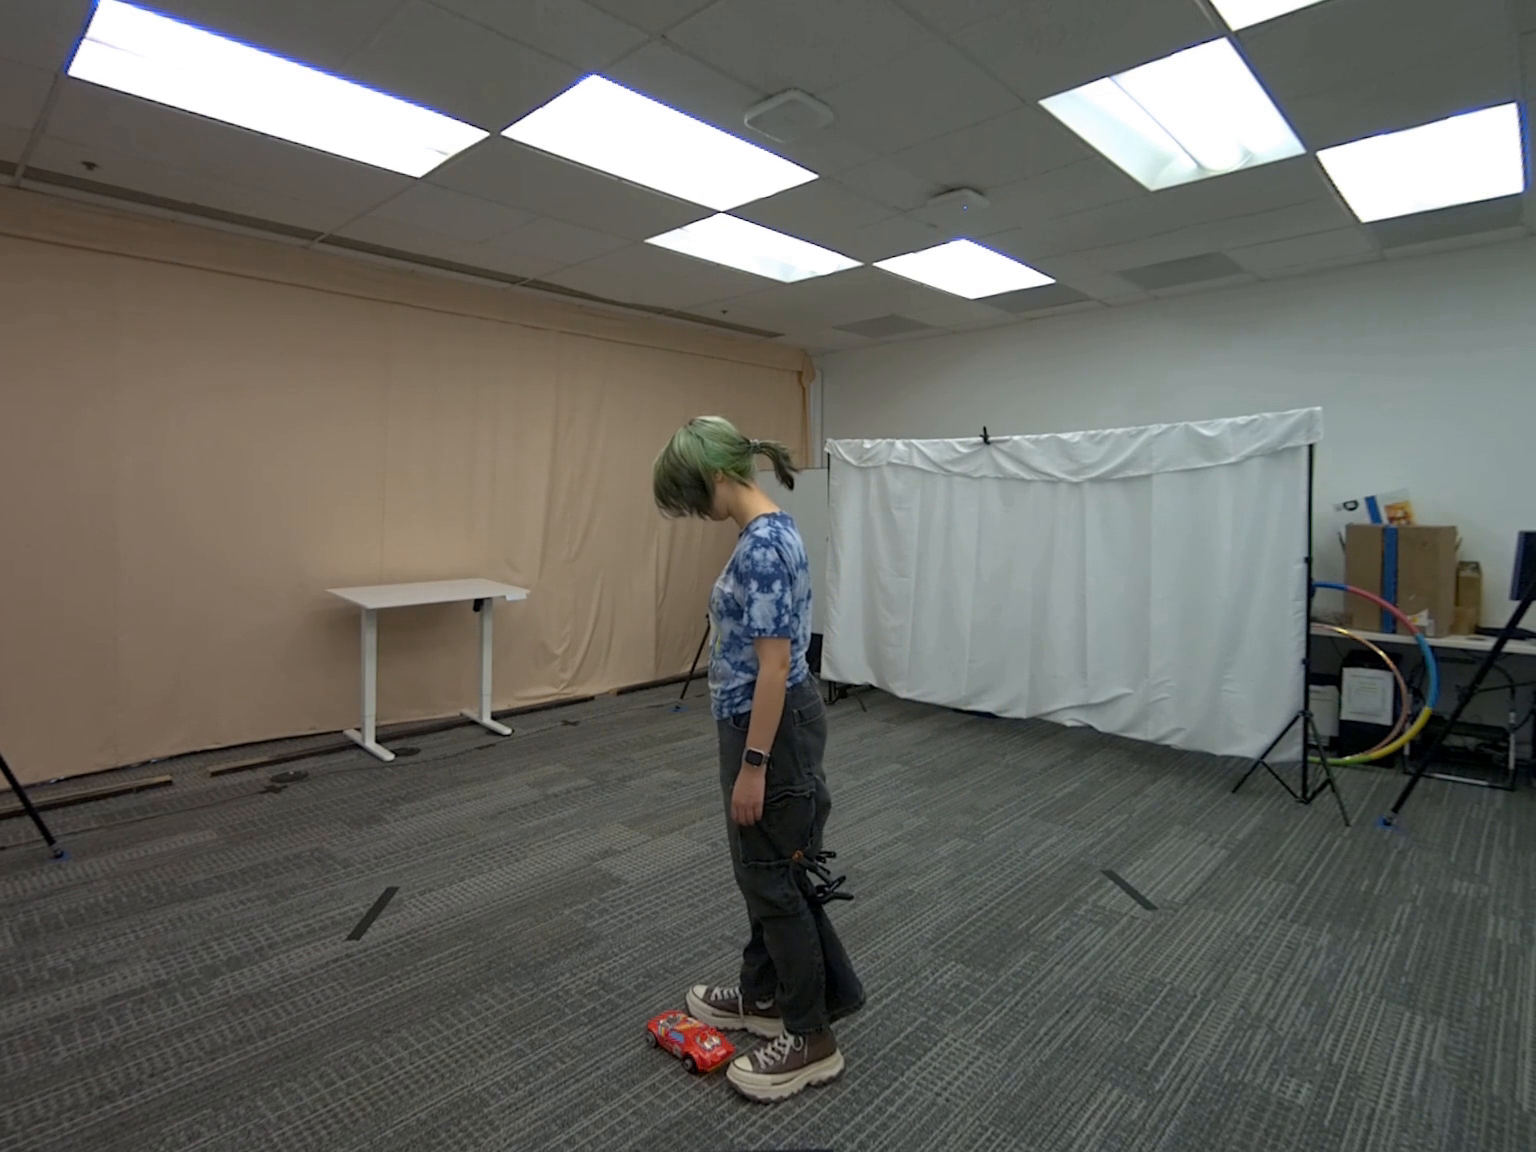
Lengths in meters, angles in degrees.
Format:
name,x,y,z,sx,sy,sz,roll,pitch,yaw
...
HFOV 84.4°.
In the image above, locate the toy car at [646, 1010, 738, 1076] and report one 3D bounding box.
name,x,y,z,sx,sy,sz,roll,pitch,yaw
toy car,-0.188,1.182,2.141,0.126,0.083,0.261,-6,-4,-45
